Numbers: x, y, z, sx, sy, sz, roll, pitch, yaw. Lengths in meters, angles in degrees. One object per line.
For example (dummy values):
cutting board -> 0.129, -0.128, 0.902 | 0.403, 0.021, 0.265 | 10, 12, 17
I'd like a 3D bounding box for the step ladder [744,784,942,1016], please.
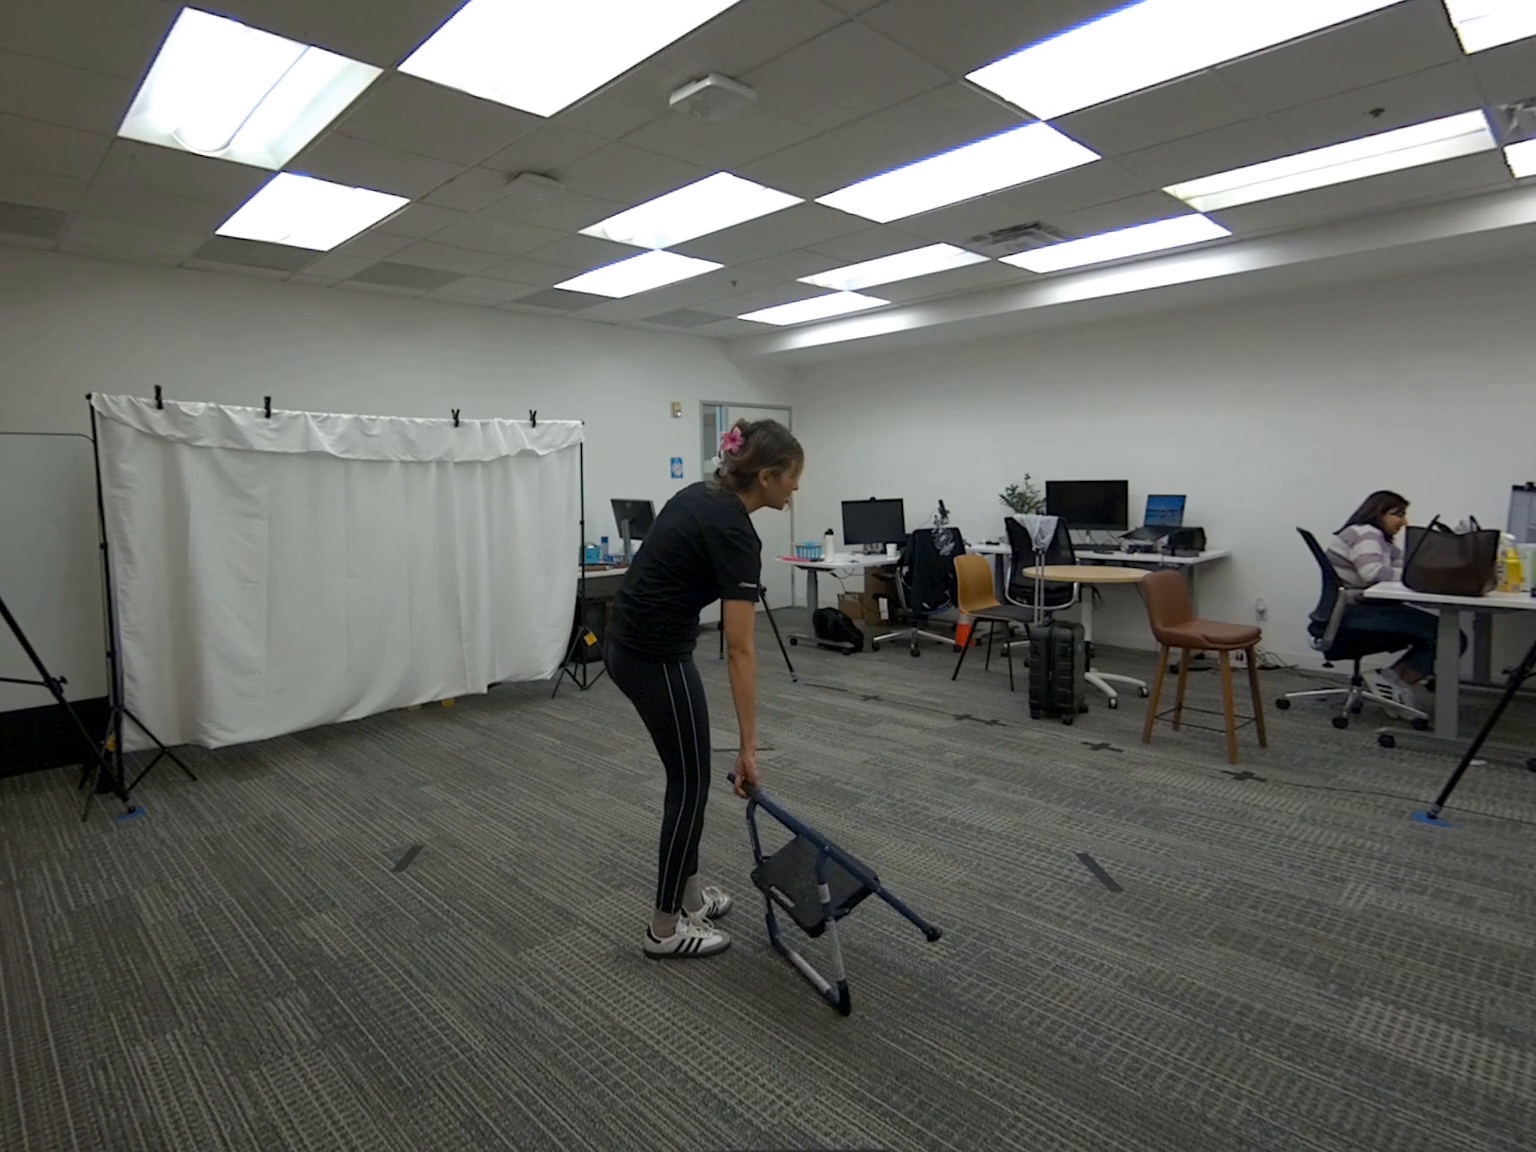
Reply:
step ladder -> 0.124, 0.788, 2.393 | 0.347, 0.596, 0.441 | -32, 16, -22
